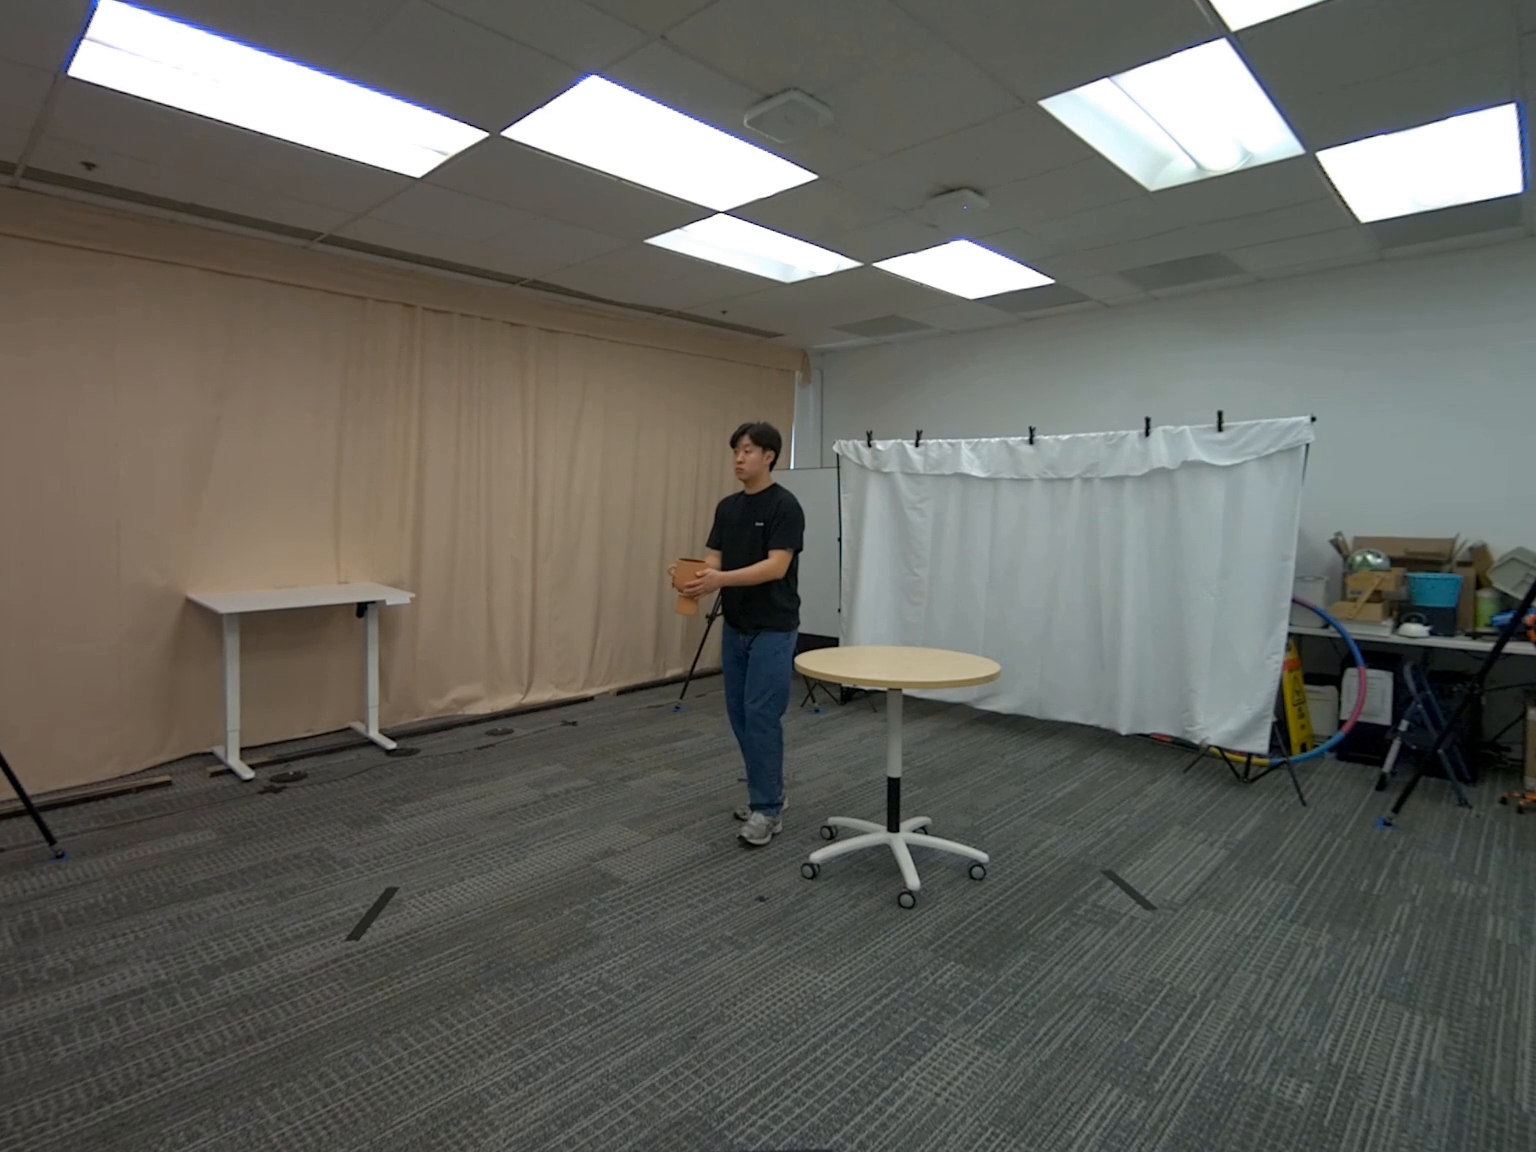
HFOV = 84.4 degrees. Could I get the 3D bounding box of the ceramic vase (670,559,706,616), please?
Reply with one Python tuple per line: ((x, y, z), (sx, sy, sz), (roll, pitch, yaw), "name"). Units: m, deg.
((-0.326, 0.045, 3.481), (0.162, 0.219, 0.132), (10, 8, 17), "ceramic vase")
